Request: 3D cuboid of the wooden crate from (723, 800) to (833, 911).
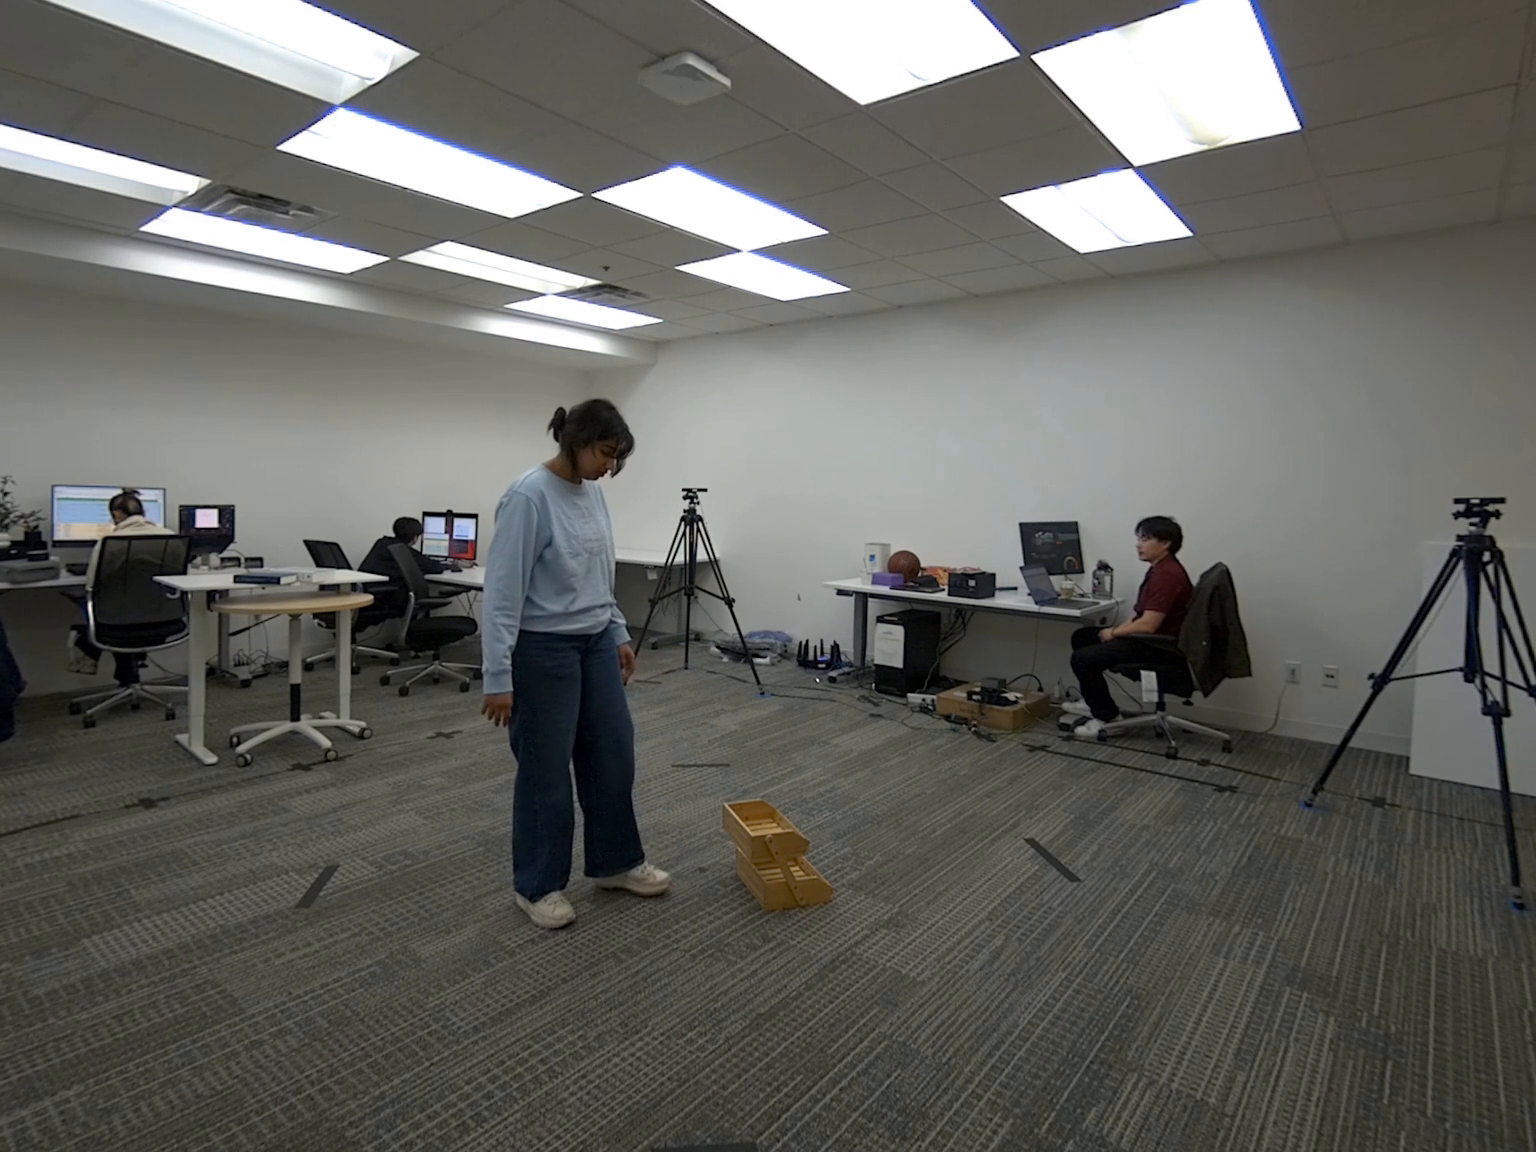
[{"bbox_3d":[0.025,0.954,2.969,0.296,0.272,0.332,-1,5,-20],"label":"wooden crate"}]
